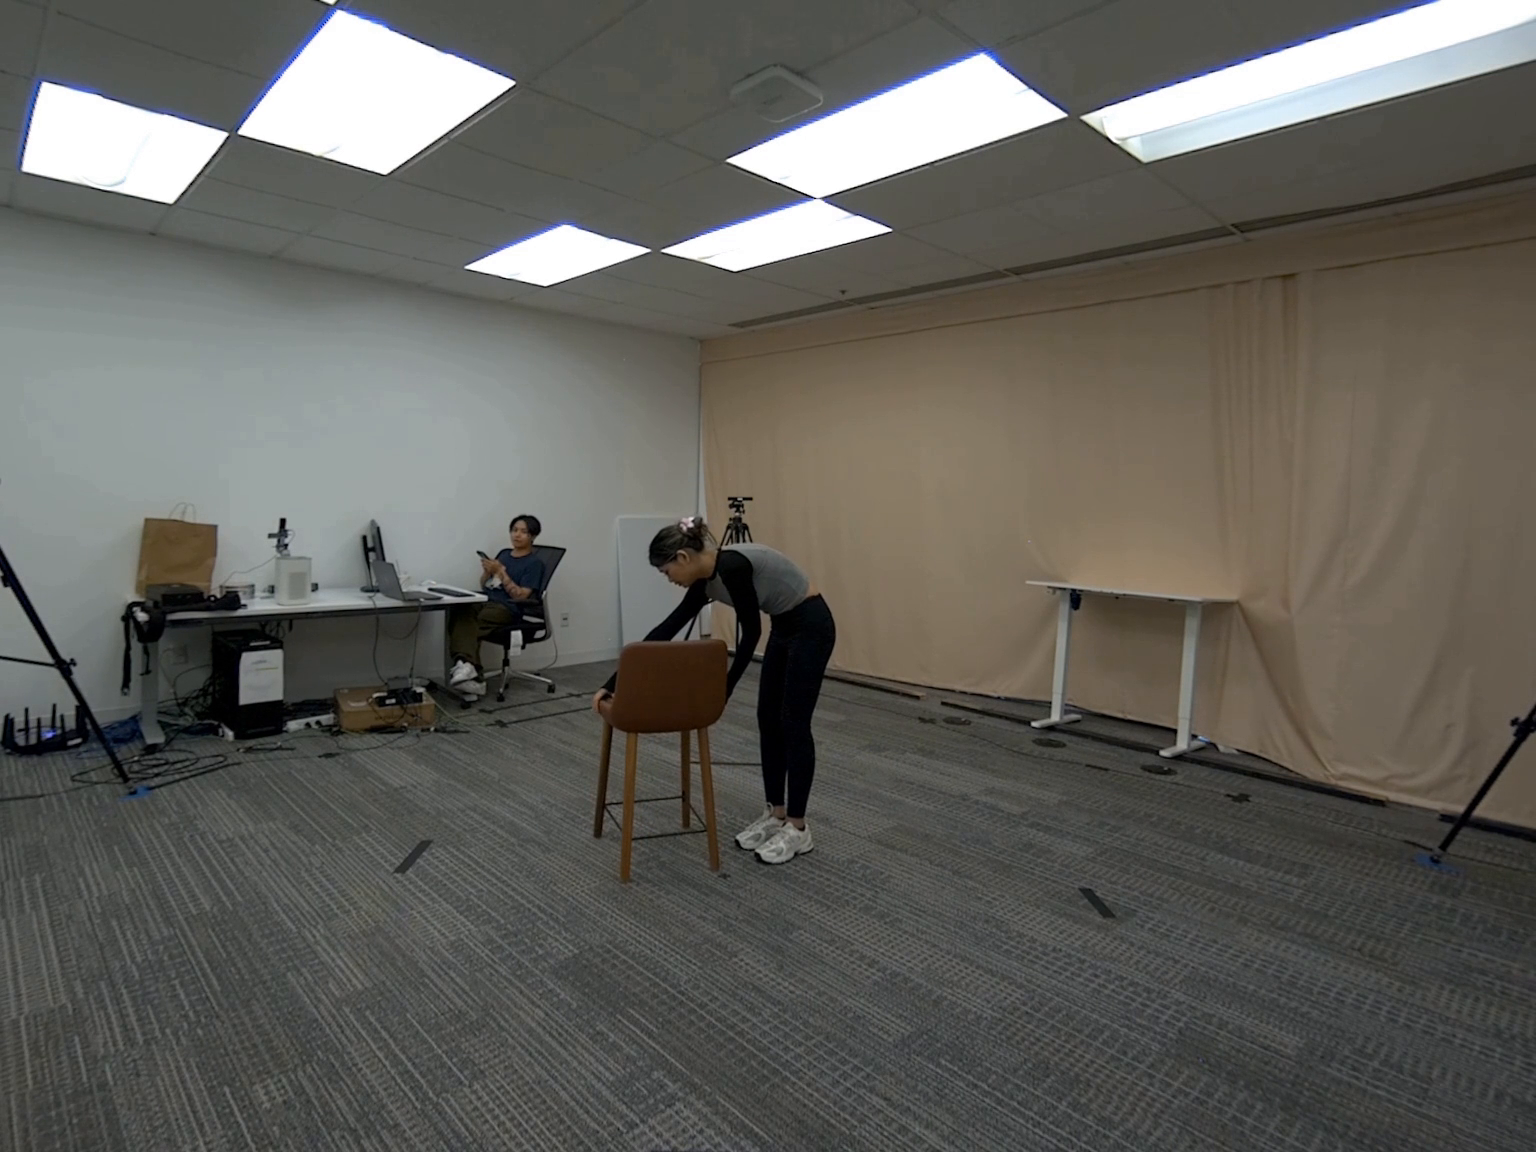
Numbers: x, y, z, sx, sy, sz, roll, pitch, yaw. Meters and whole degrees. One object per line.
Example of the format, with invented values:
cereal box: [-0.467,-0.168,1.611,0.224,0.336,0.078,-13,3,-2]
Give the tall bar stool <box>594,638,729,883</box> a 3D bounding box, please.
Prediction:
tall bar stool: [-0.434,0.650,3.269,0.449,0.887,0.477,1,5,-22]
